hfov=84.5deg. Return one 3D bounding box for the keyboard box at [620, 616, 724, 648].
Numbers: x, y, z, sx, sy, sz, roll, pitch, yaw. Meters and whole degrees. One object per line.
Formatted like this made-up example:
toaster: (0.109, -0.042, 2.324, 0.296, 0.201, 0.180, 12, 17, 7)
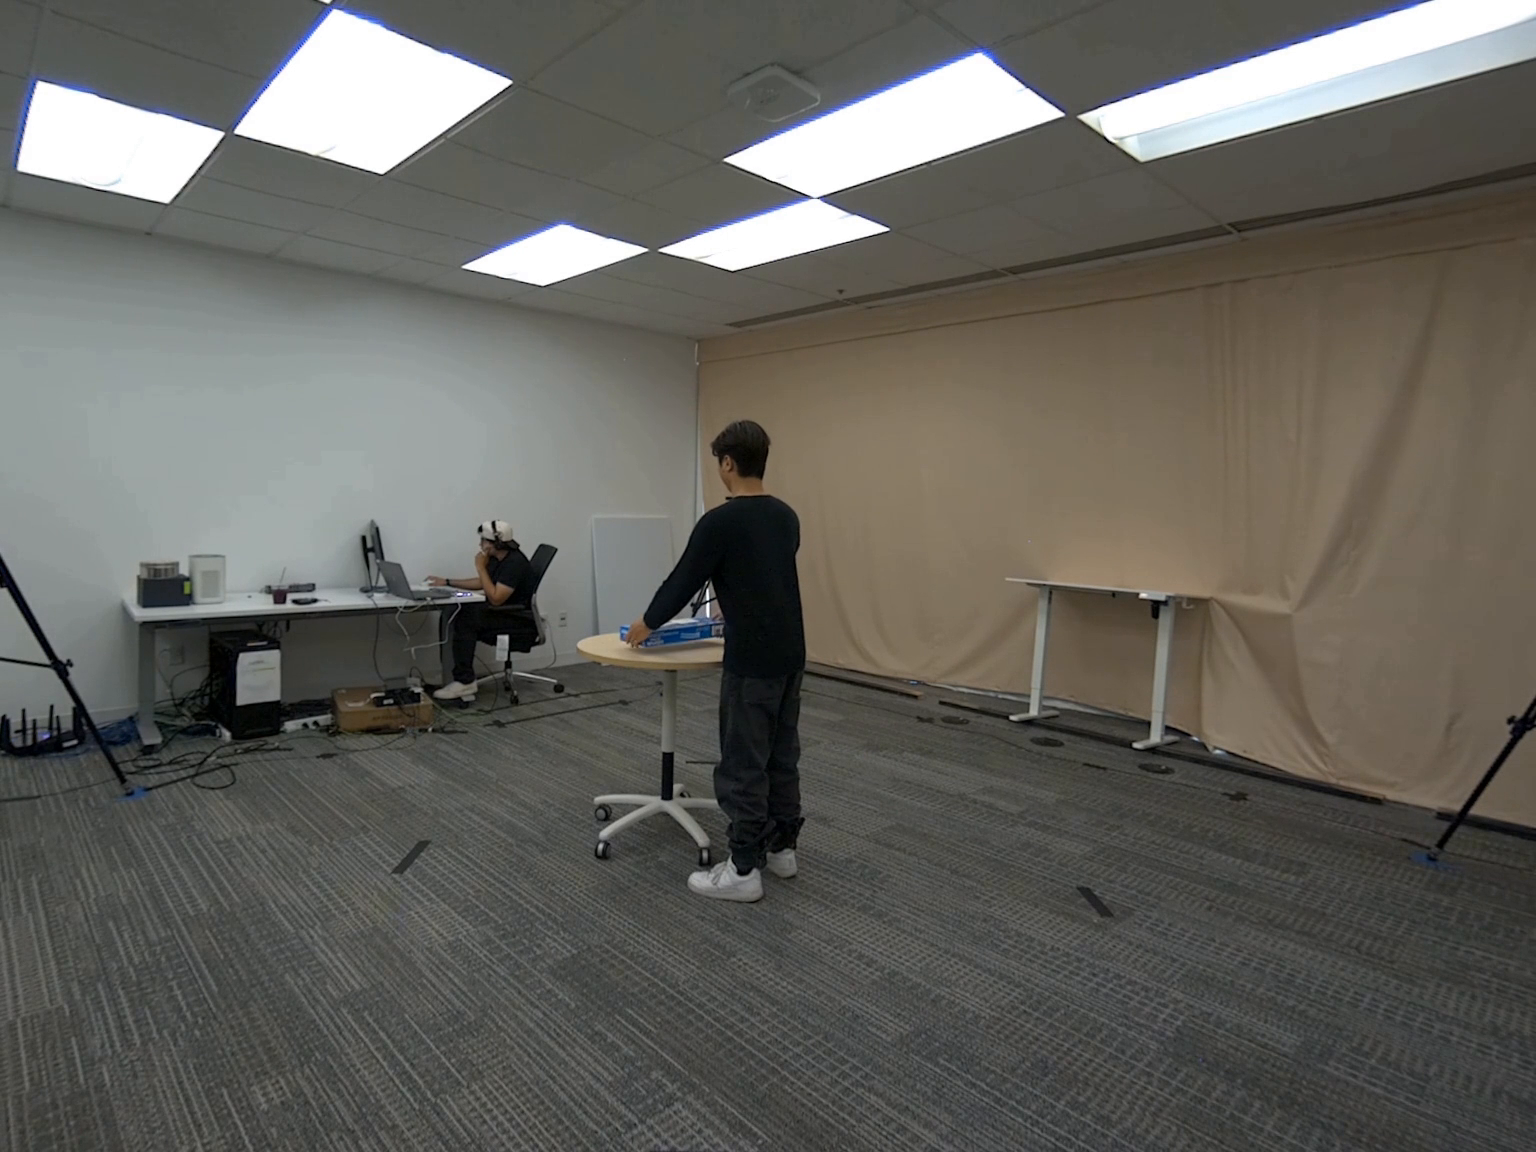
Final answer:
keyboard box: (-0.375, 0.225, 3.401, 0.180, 0.059, 0.427, 6, 7, 42)
